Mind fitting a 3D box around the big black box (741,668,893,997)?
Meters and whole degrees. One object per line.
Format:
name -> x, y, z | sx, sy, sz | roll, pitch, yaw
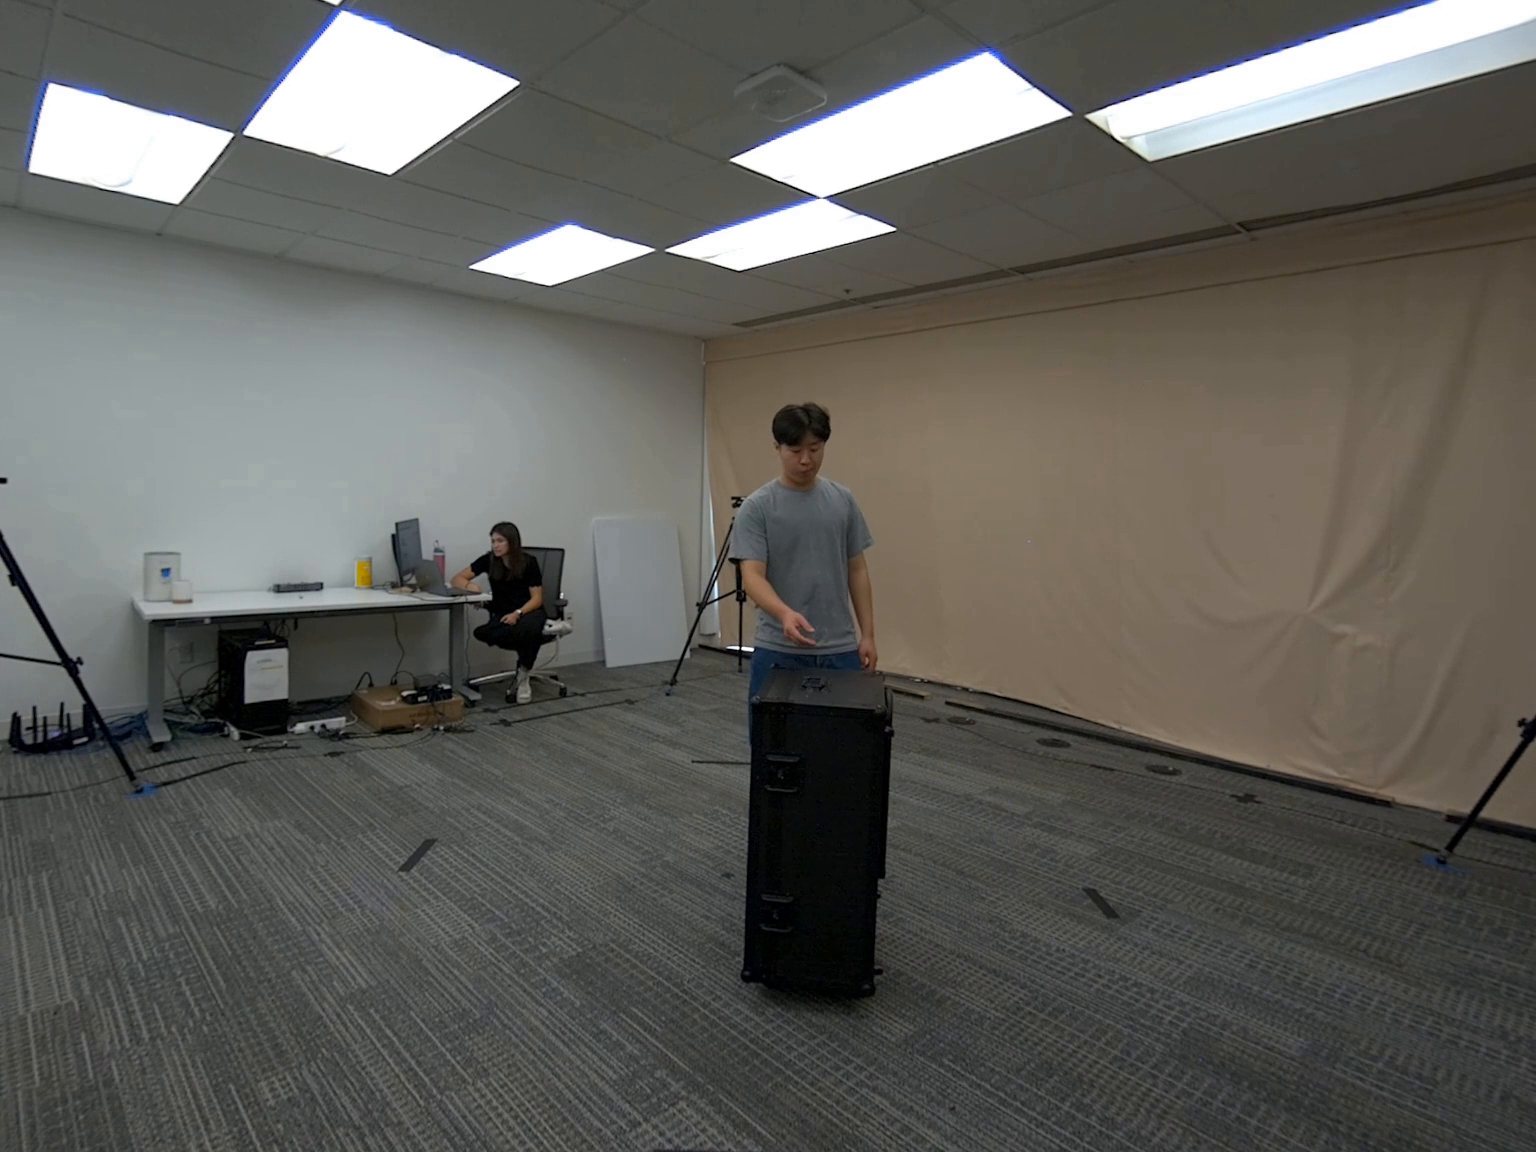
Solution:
big black box -> 0.149, 0.743, 2.488 | 0.399, 0.859, 0.519 | 3, 4, 8
